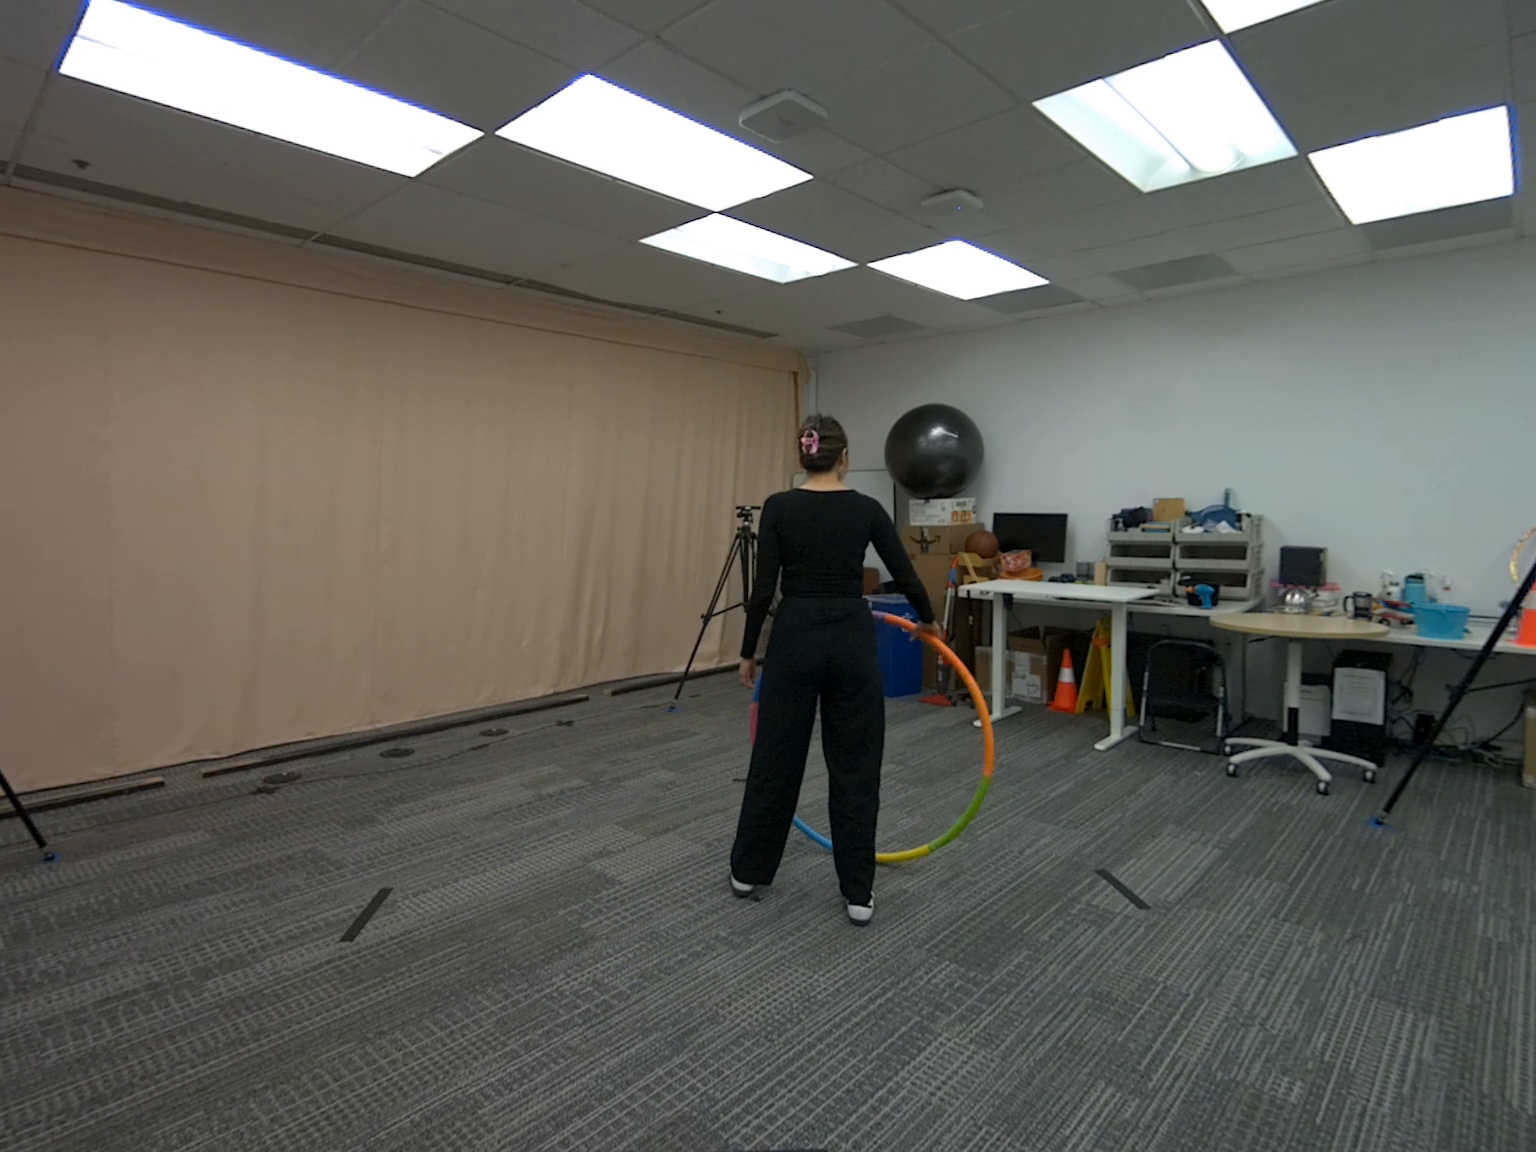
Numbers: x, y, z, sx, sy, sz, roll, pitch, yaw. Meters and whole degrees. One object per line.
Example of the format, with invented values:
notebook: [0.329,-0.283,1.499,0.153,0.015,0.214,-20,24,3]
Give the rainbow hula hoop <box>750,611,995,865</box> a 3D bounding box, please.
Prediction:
rainbow hula hoop: [0.370,0.626,3.299,1.006,0.978,0.034,2,2,29]
